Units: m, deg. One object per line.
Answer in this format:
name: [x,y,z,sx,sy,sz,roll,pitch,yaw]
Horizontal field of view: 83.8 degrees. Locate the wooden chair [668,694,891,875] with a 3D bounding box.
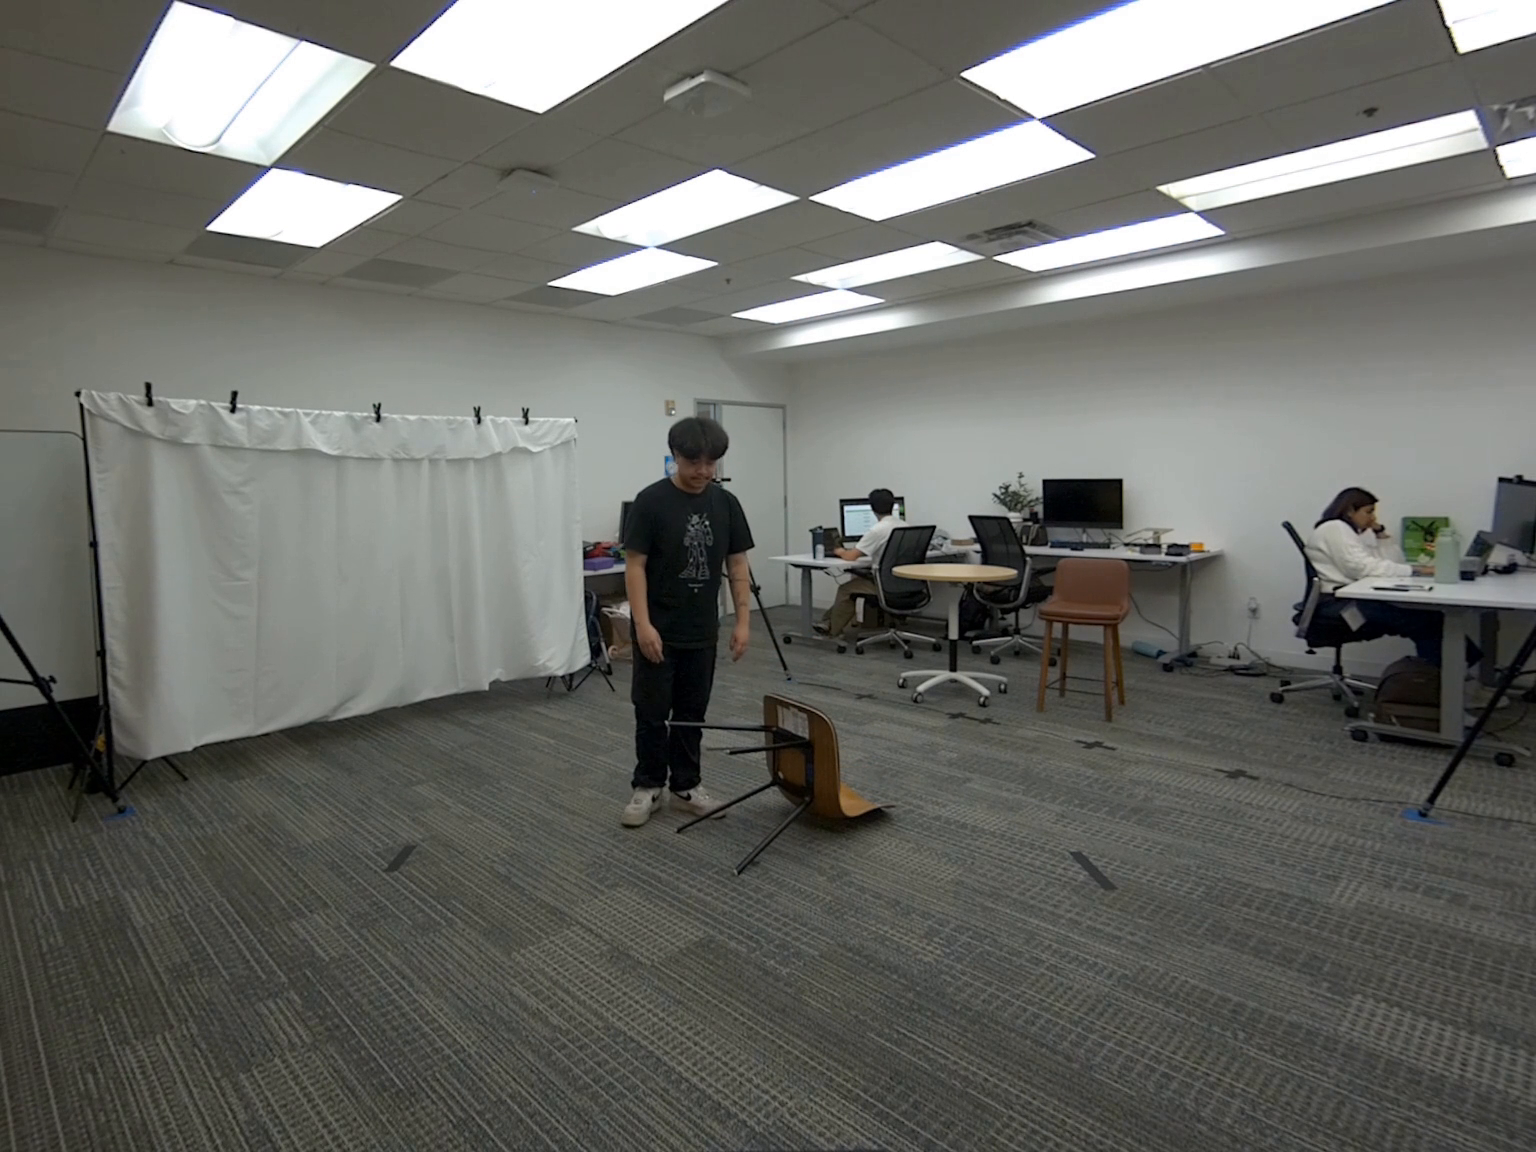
wooden chair: [0.092,0.751,3.392,0.856,0.521,0.492,-4,5,-33]
